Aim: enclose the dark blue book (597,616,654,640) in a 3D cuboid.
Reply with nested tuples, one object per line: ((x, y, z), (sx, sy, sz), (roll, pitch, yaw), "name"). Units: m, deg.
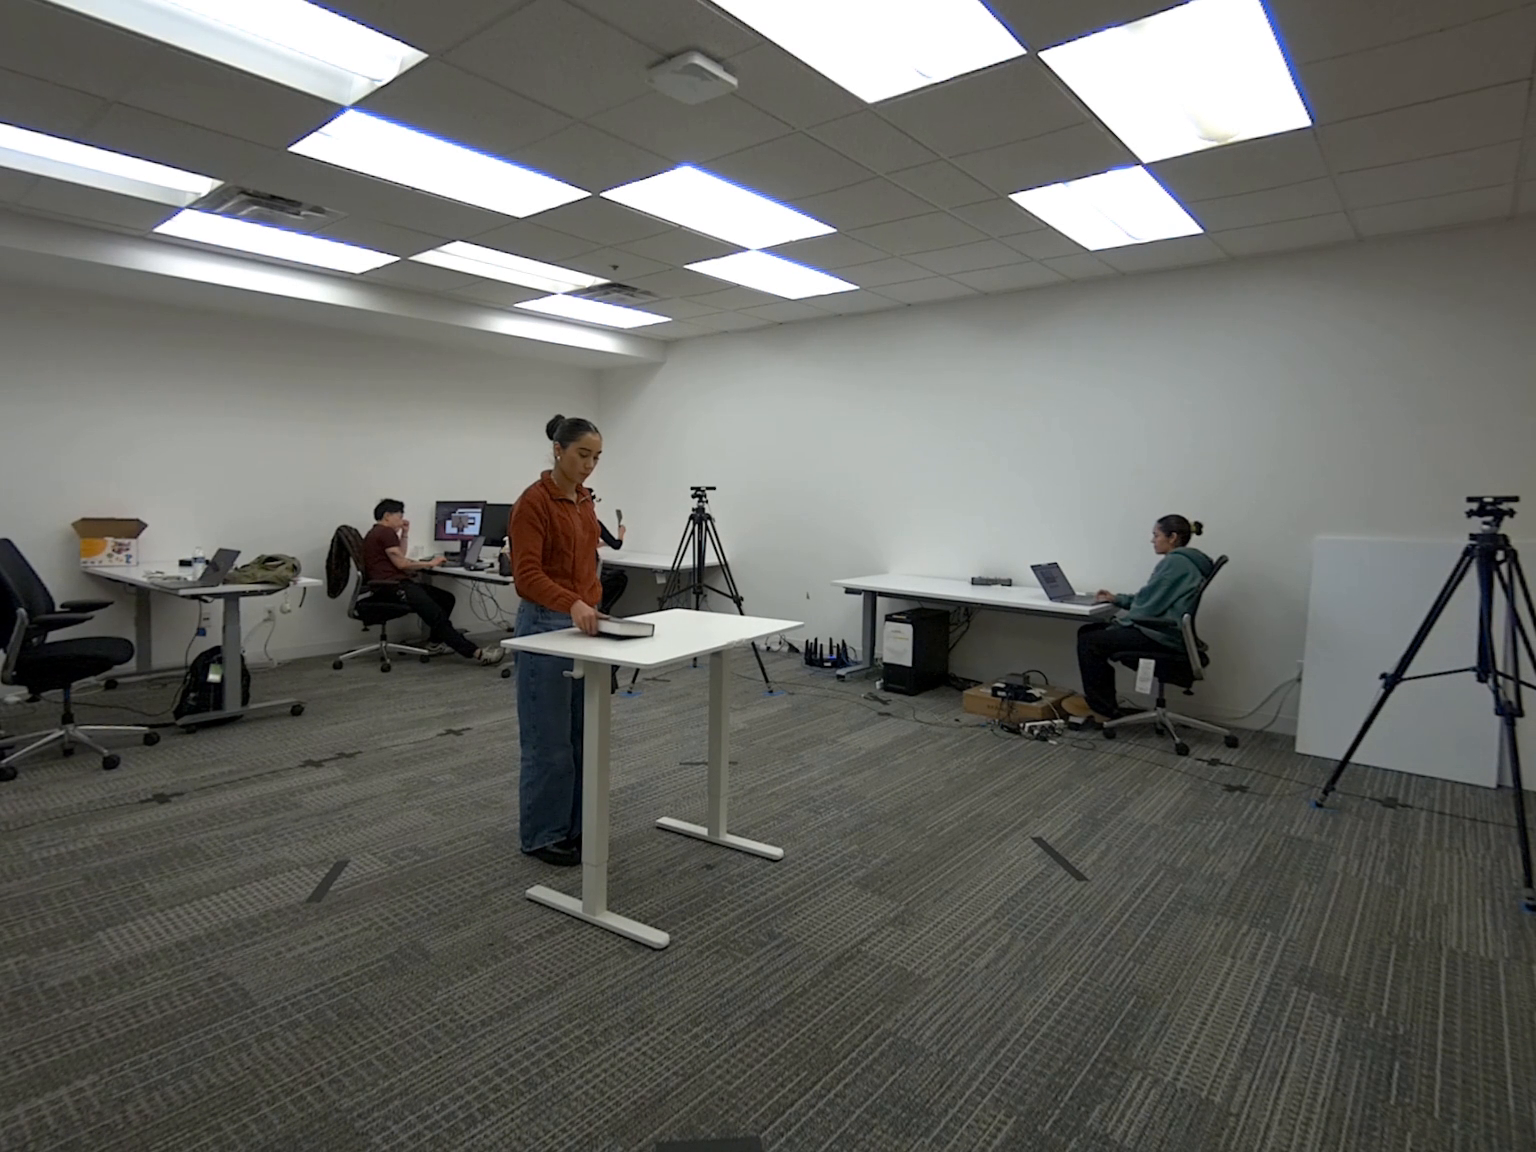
((-0.536, 0.171, 2.918), (0.253, 0.045, 0.158), (7, 0, 41), "dark blue book")
